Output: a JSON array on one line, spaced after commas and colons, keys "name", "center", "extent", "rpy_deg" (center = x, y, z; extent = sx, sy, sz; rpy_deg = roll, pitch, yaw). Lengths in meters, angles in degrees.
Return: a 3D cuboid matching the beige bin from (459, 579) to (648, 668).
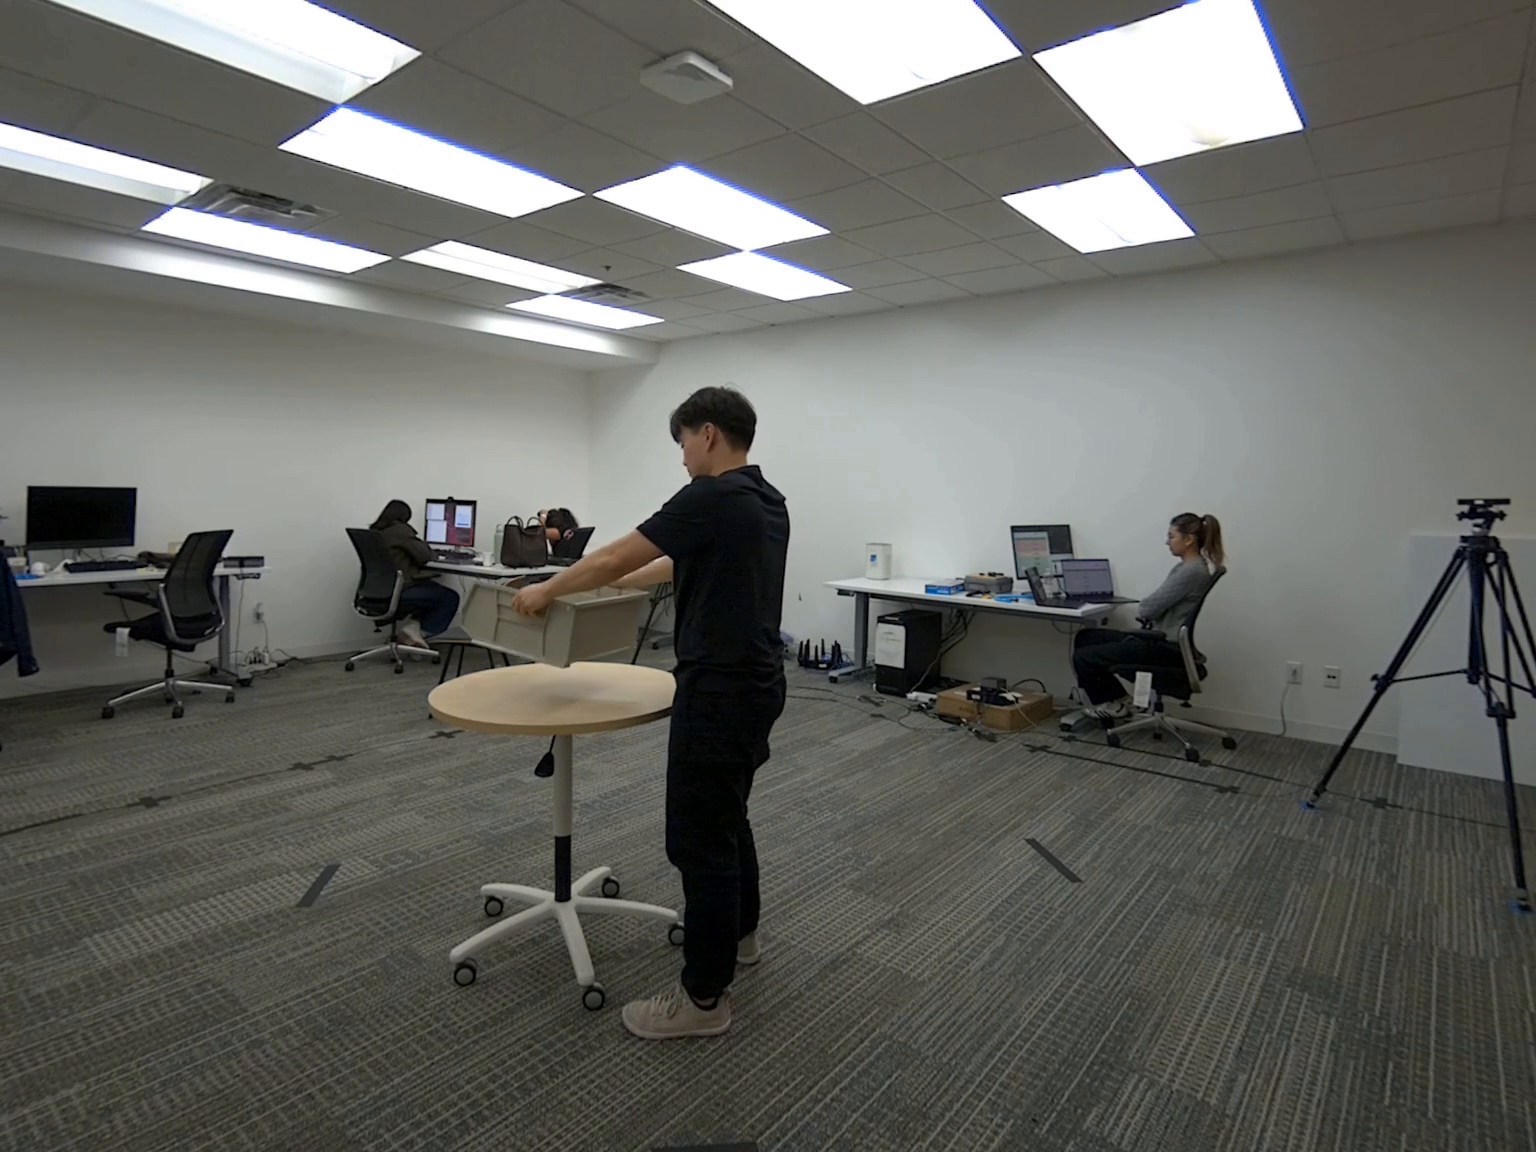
[{"name": "beige bin", "center": [-0.635, 0.109, 2.517], "extent": [0.387, 0.188, 0.413], "rpy_deg": [12, 7, 21]}]
